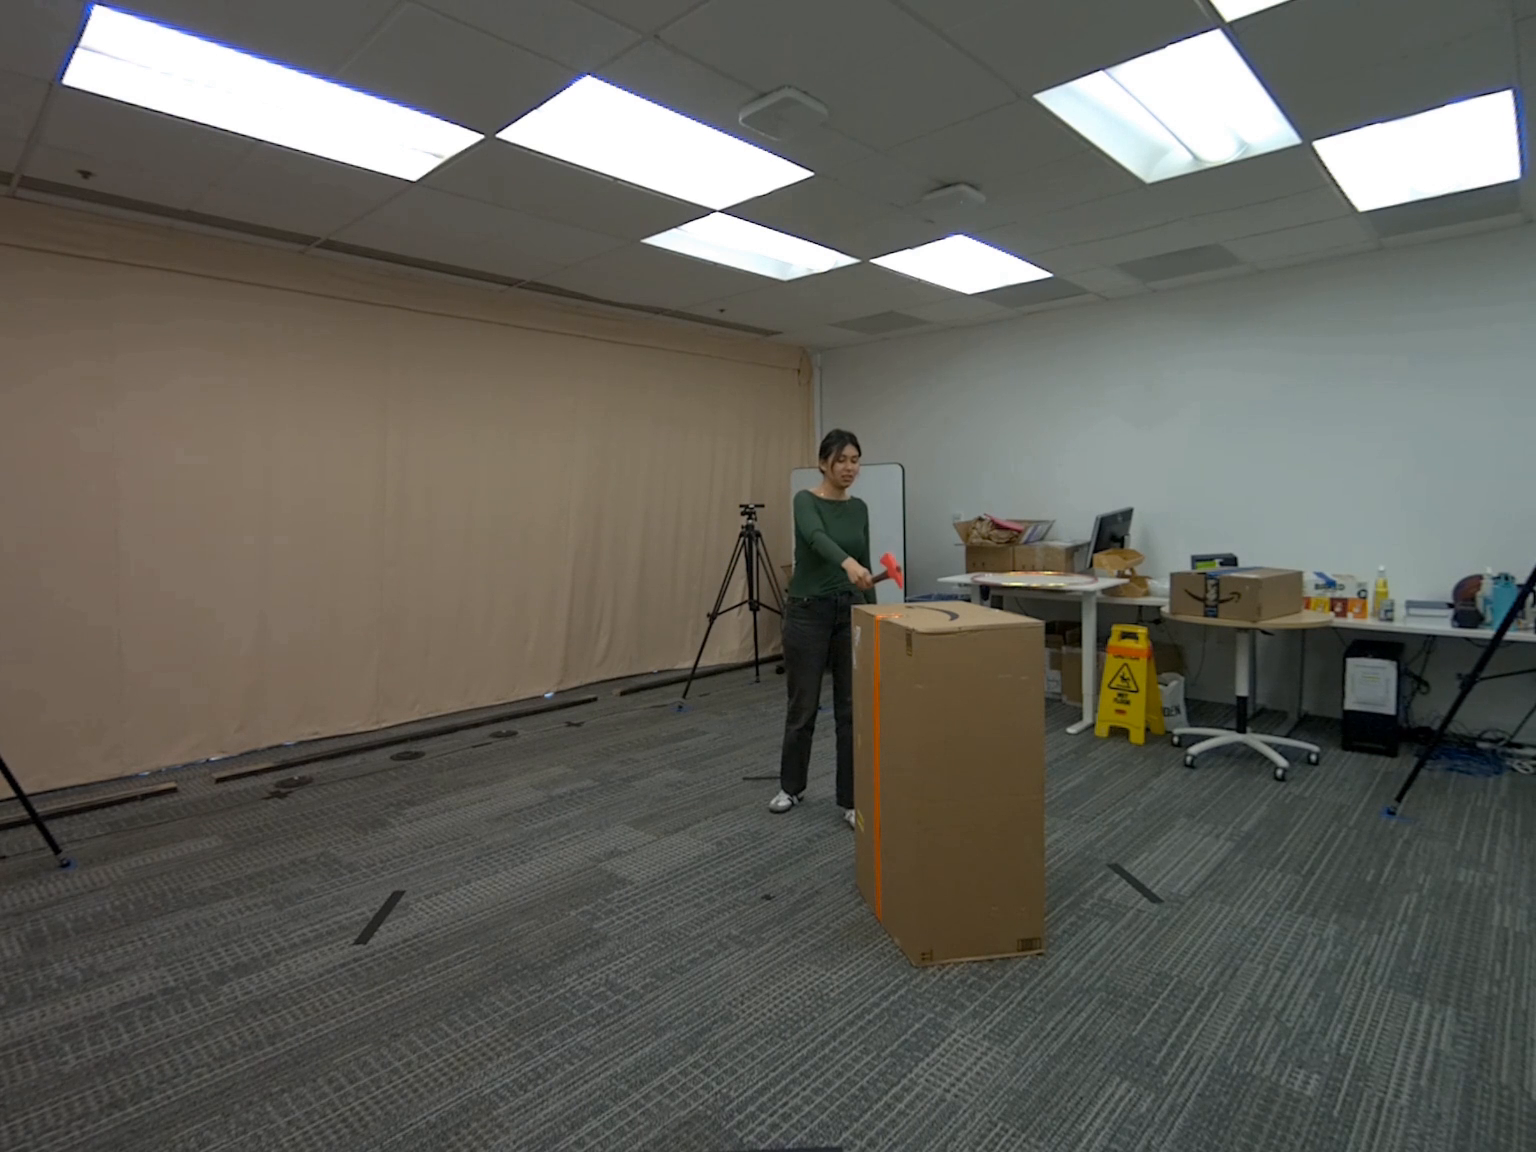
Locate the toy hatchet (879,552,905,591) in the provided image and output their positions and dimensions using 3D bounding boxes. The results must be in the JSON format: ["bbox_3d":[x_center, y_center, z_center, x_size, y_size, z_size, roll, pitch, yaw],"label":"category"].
[{"bbox_3d":[0.392,-0.041,3.032,0.029,0.130,0.278,-11,13,-24],"label":"toy hatchet"}]
